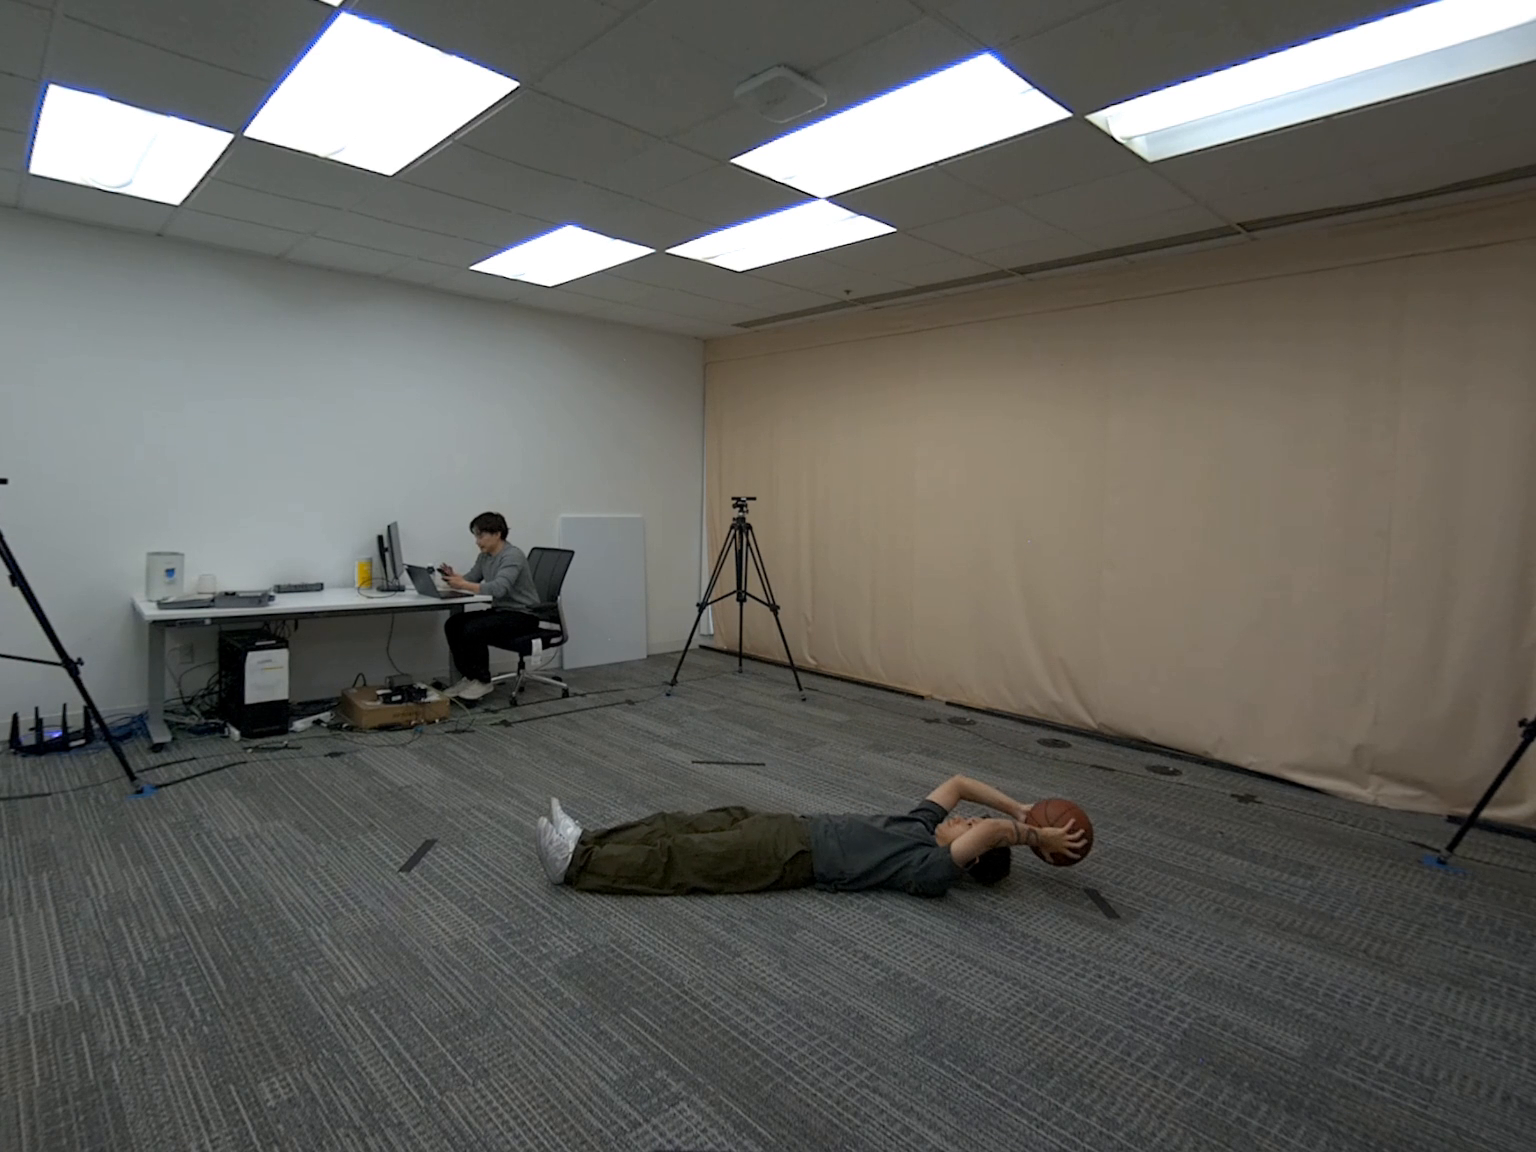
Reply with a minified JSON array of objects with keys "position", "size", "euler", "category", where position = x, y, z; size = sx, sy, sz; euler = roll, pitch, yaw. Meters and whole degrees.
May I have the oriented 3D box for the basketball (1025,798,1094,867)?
[{"position":[1.060,0.934,3.093],"size":[0.236,0.235,0.237],"euler":[1,4,-1],"category":"basketball"}]
